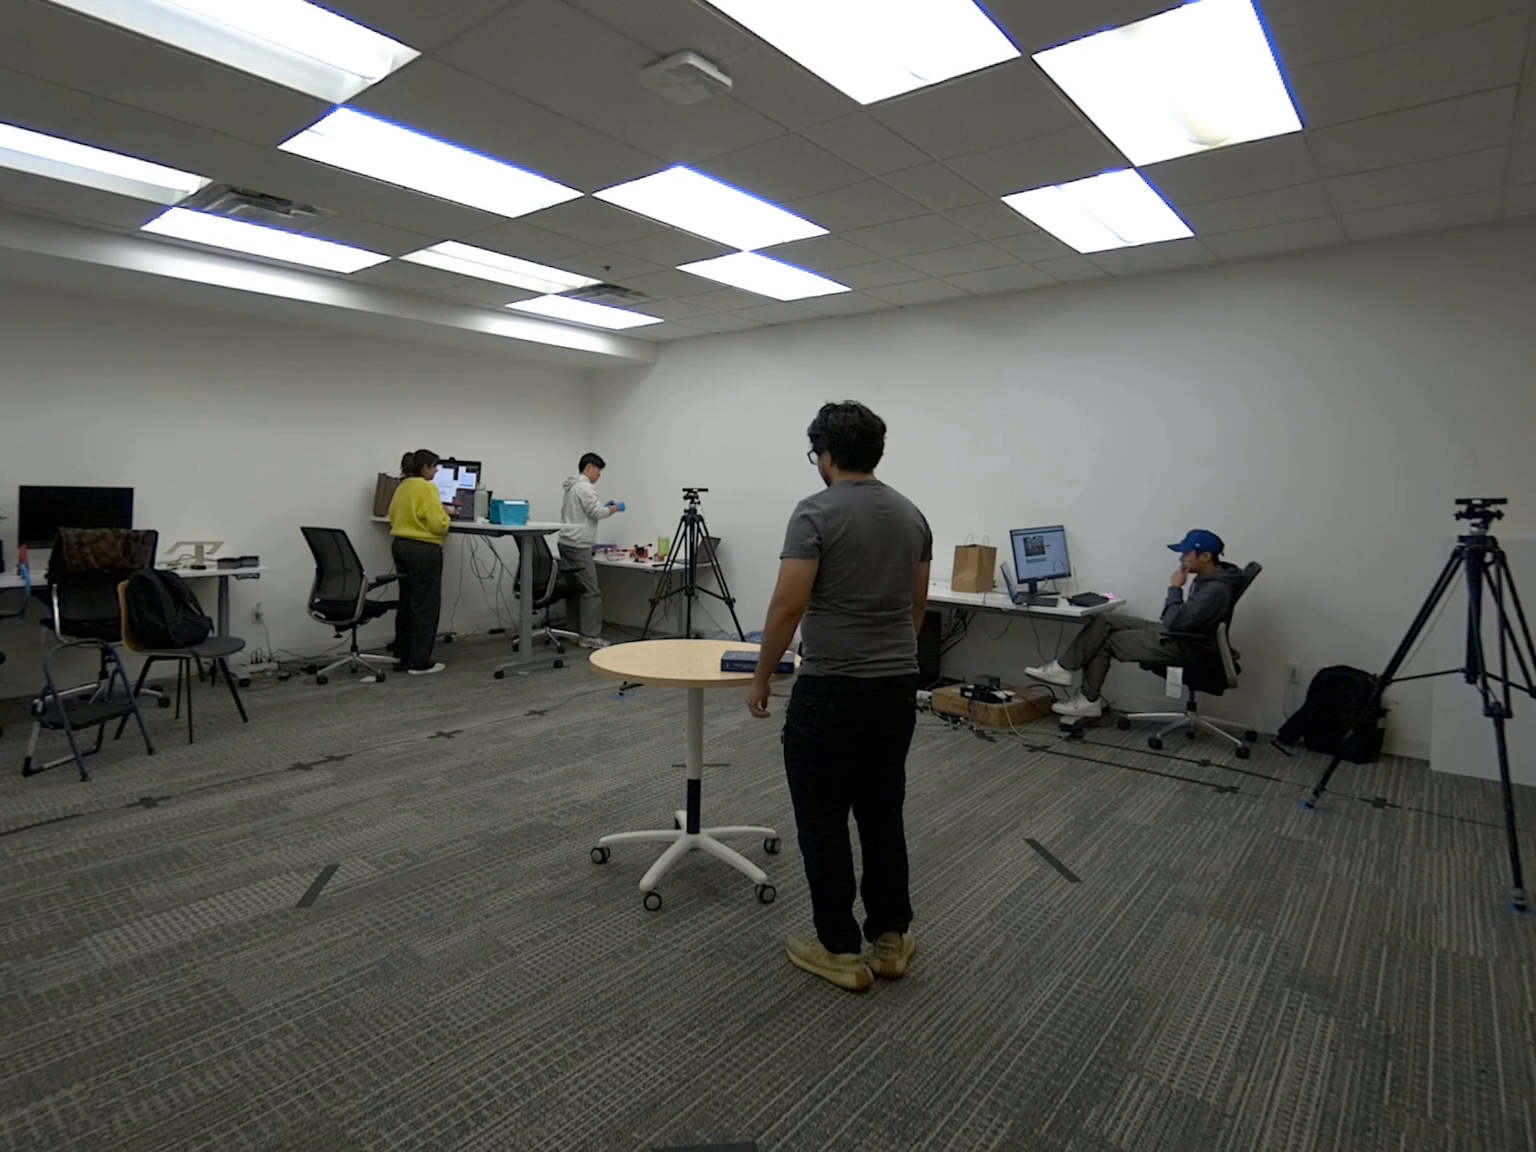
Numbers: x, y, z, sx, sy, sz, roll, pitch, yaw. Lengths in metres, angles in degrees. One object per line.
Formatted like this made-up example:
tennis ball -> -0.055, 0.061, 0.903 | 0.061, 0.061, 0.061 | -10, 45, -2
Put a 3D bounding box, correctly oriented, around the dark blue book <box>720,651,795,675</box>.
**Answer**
dark blue book -> -0.047, 0.289, 2.883 | 0.247, 0.045, 0.163 | 1, 5, 6
